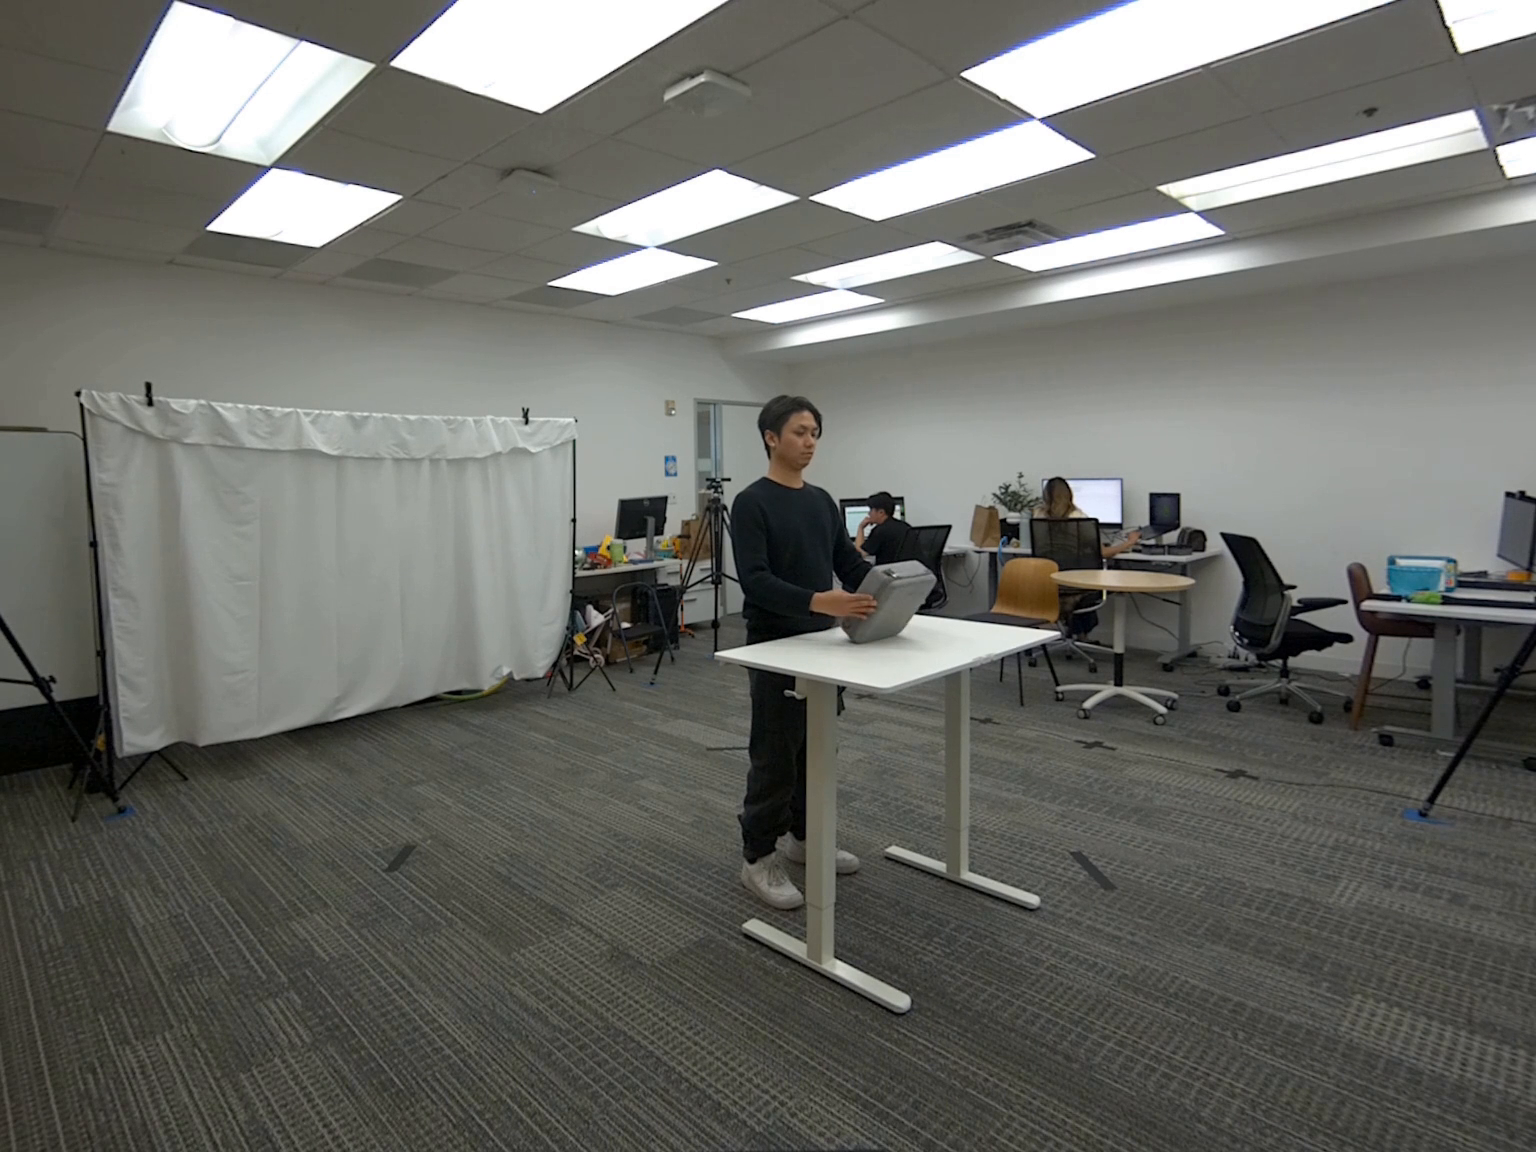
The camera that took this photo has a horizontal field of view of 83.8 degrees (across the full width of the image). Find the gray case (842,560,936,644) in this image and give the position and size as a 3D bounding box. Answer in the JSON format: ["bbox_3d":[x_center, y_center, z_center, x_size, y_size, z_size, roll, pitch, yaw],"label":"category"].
[{"bbox_3d":[0.374,0.081,2.662,0.250,0.258,0.108,-8,45,-47],"label":"gray case"}]
